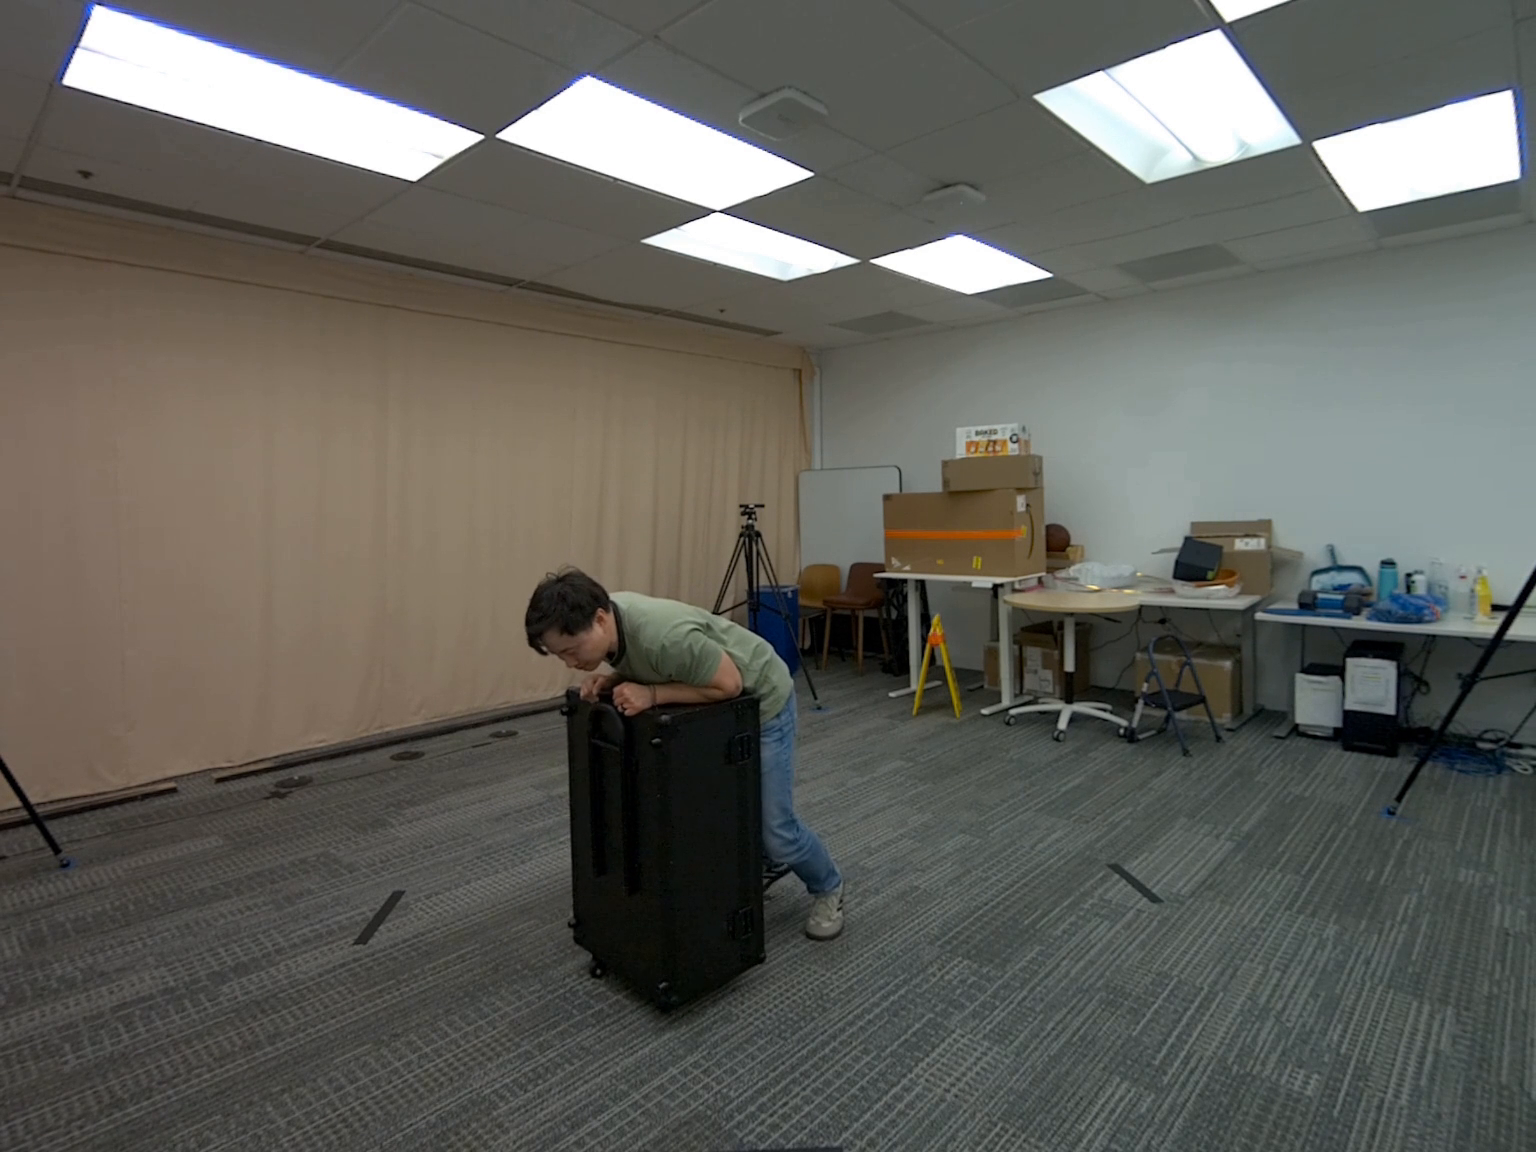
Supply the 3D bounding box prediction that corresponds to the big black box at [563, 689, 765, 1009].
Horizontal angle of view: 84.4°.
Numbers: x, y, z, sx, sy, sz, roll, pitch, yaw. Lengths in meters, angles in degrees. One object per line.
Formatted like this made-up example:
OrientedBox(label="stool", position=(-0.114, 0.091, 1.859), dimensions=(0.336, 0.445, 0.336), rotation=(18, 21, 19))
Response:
OrientedBox(label="big black box", position=(-0.316, 0.772, 2.467), dimensions=(0.384, 0.859, 0.538), rotation=(-6, 6, -42))
